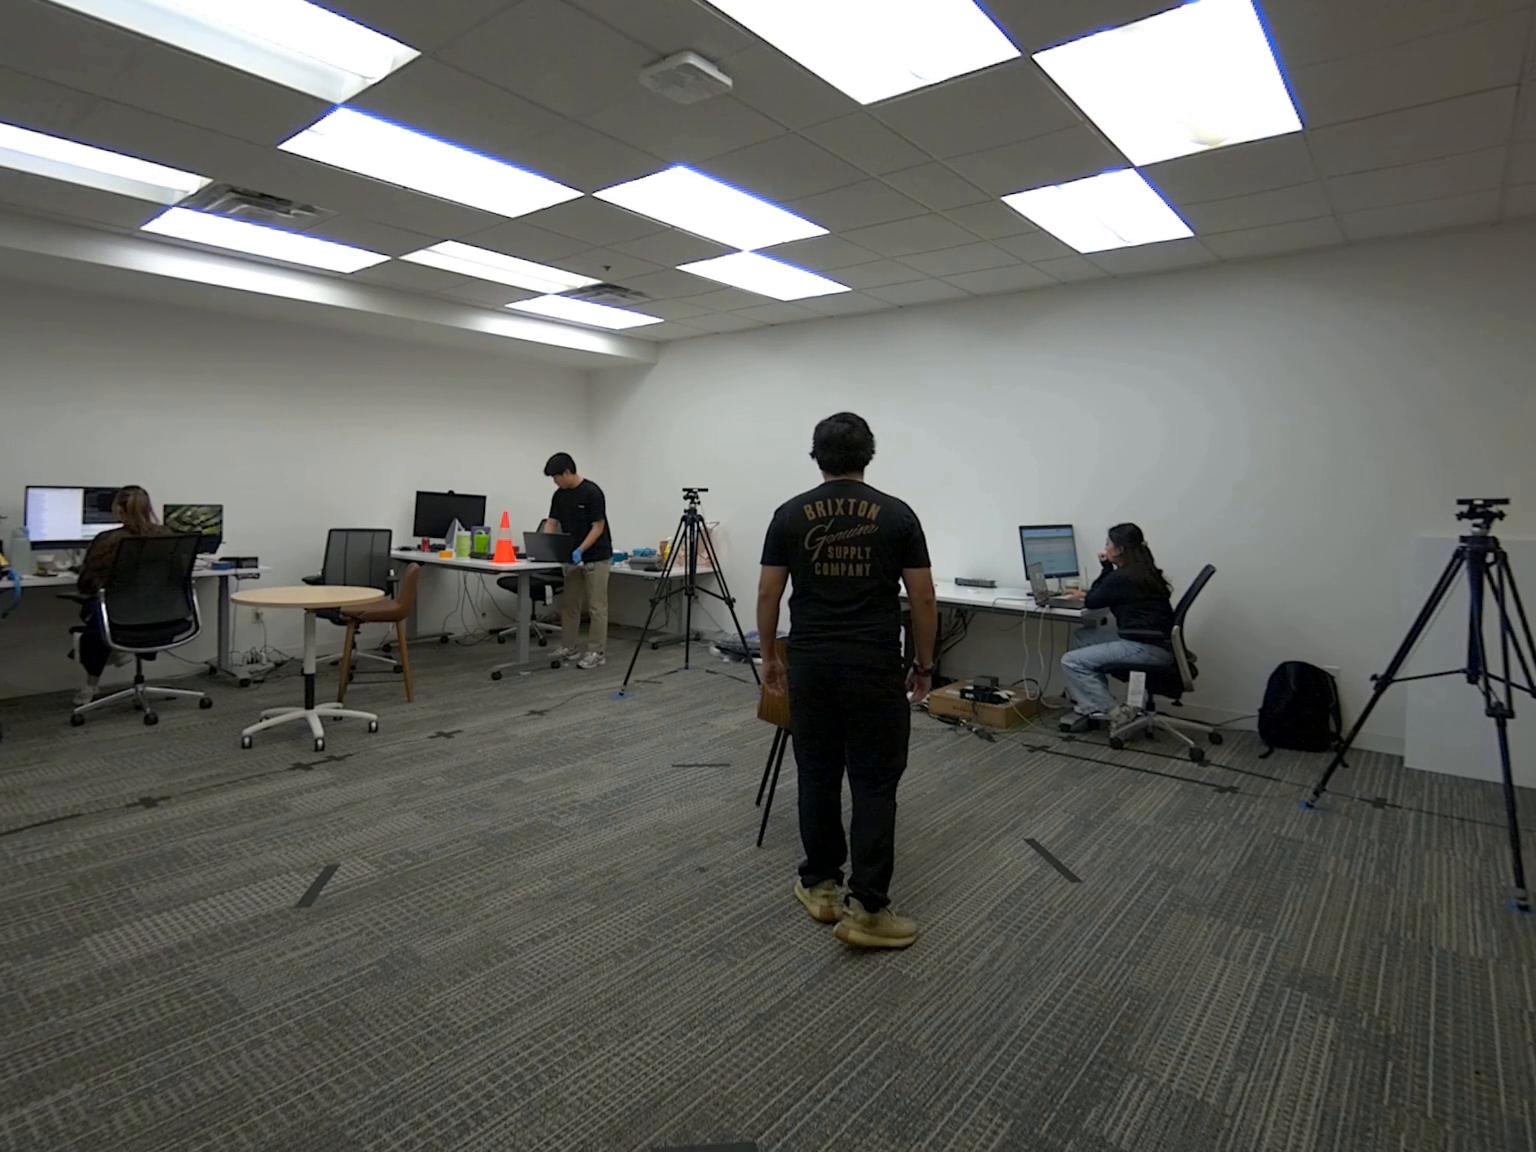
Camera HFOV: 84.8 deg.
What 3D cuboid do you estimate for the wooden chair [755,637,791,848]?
[{"bbox_3d":[0.169,0.608,3.511,0.479,0.871,0.526,1,7,0],"label":"wooden chair"}]
